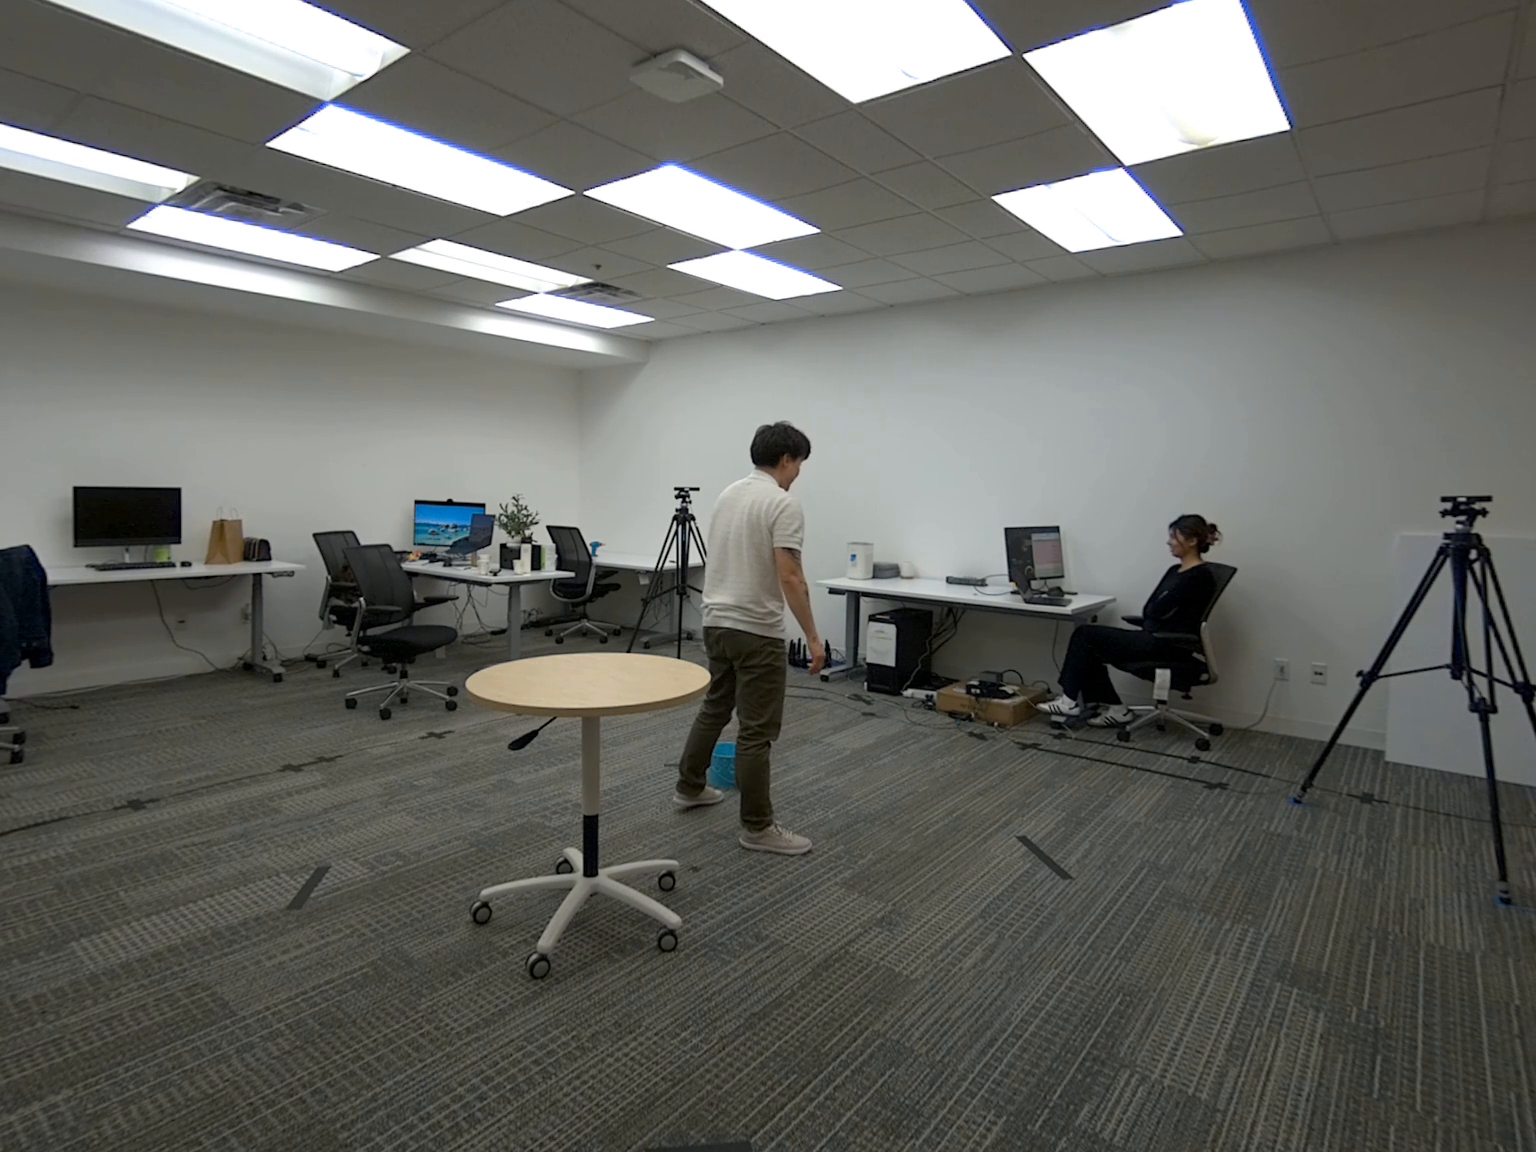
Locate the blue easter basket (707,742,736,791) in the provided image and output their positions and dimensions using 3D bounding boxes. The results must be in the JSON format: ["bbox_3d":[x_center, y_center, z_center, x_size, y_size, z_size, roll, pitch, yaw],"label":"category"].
[{"bbox_3d":[-0.195,0.898,4.041,0.243,0.155,0.244,1,4,-2],"label":"blue easter basket"}]
